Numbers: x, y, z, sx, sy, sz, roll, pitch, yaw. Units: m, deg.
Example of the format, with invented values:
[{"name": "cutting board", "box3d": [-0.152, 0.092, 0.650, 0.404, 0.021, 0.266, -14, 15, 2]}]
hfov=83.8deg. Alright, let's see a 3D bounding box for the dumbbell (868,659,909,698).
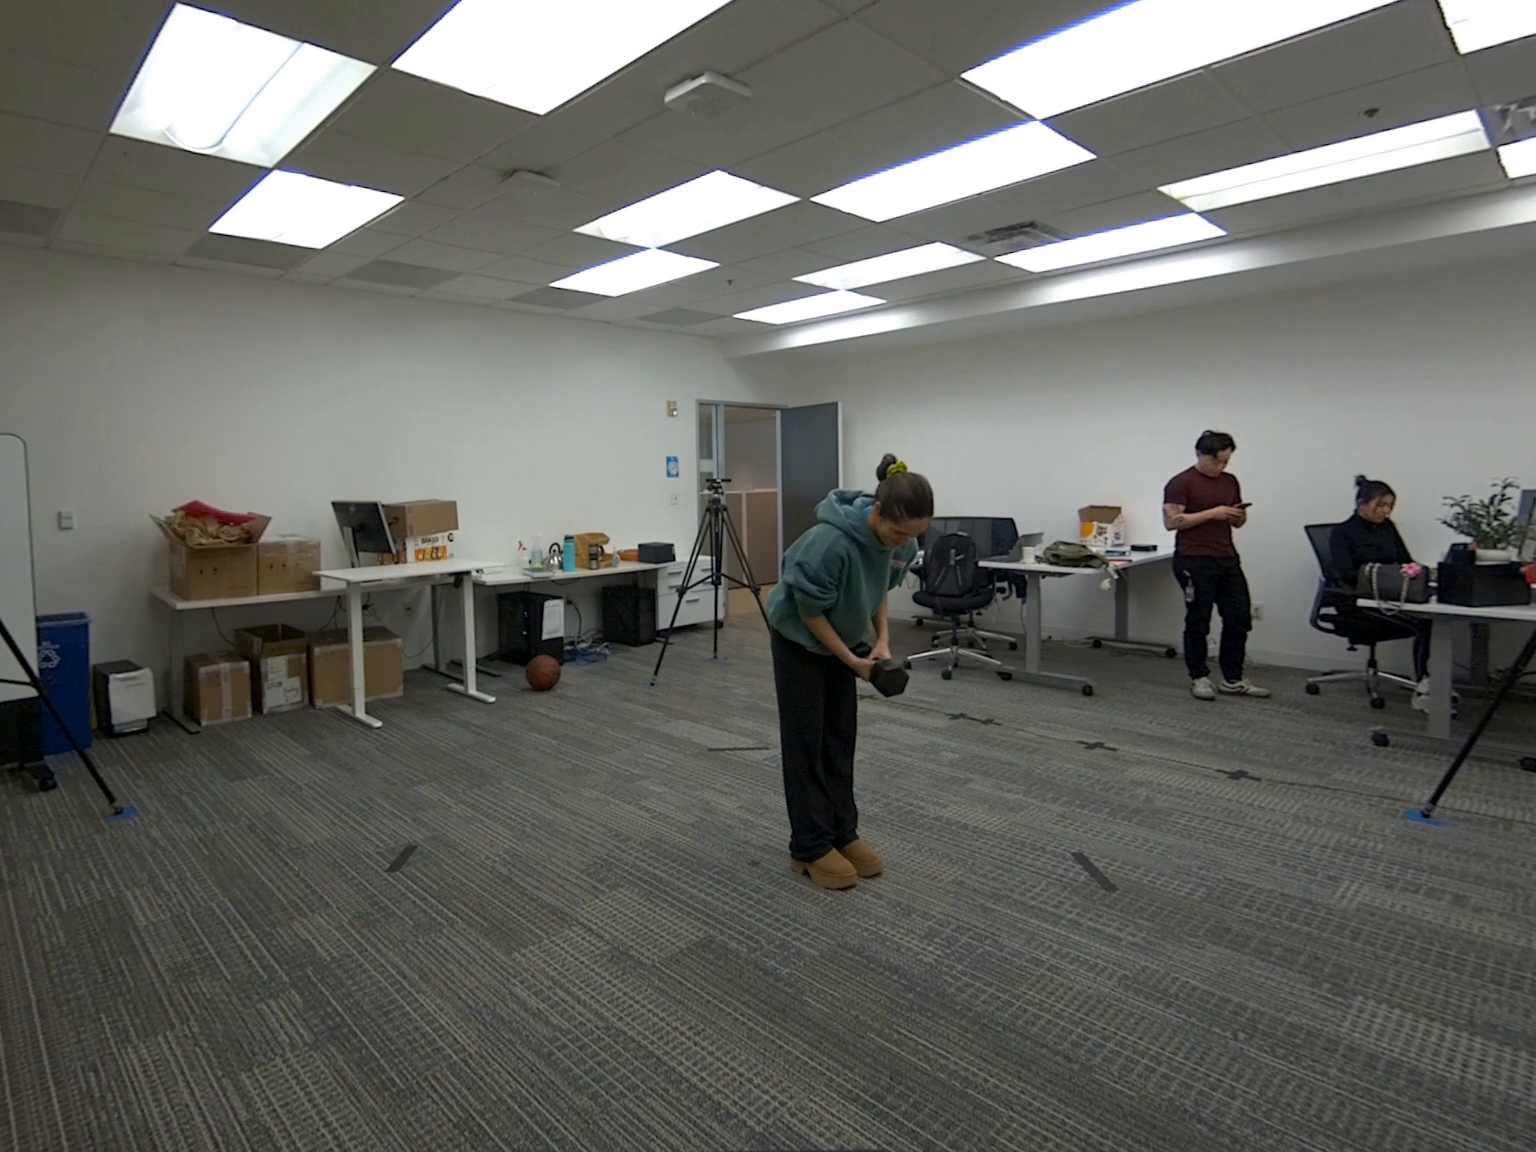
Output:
[{"name": "dumbbell", "box3d": [0.356, 0.323, 2.904, 0.121, 0.107, 0.301, -10, 13, -18]}]
